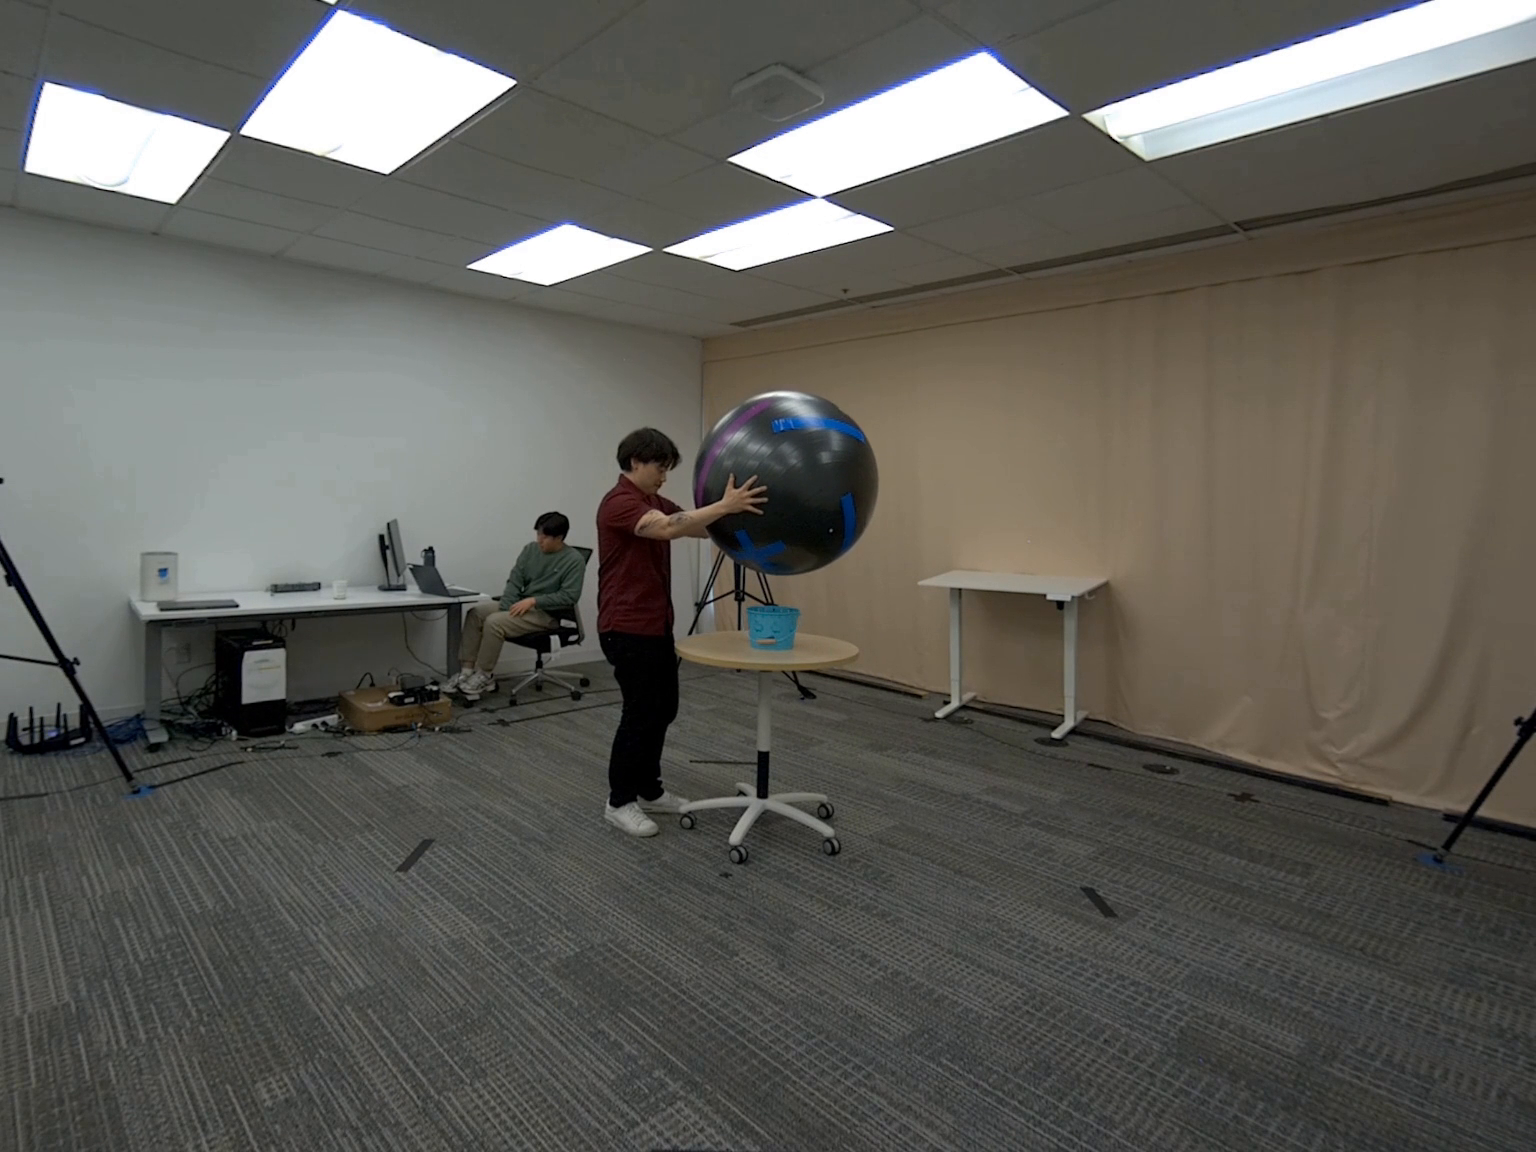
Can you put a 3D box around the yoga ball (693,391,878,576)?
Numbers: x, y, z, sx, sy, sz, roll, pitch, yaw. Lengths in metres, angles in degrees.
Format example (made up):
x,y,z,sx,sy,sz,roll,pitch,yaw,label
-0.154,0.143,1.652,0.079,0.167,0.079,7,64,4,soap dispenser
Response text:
x,y,z,sx,sy,sz,roll,pitch,yaw,label
0.061,-0.374,3.465,0.757,0.756,0.761,1,4,-1,yoga ball
